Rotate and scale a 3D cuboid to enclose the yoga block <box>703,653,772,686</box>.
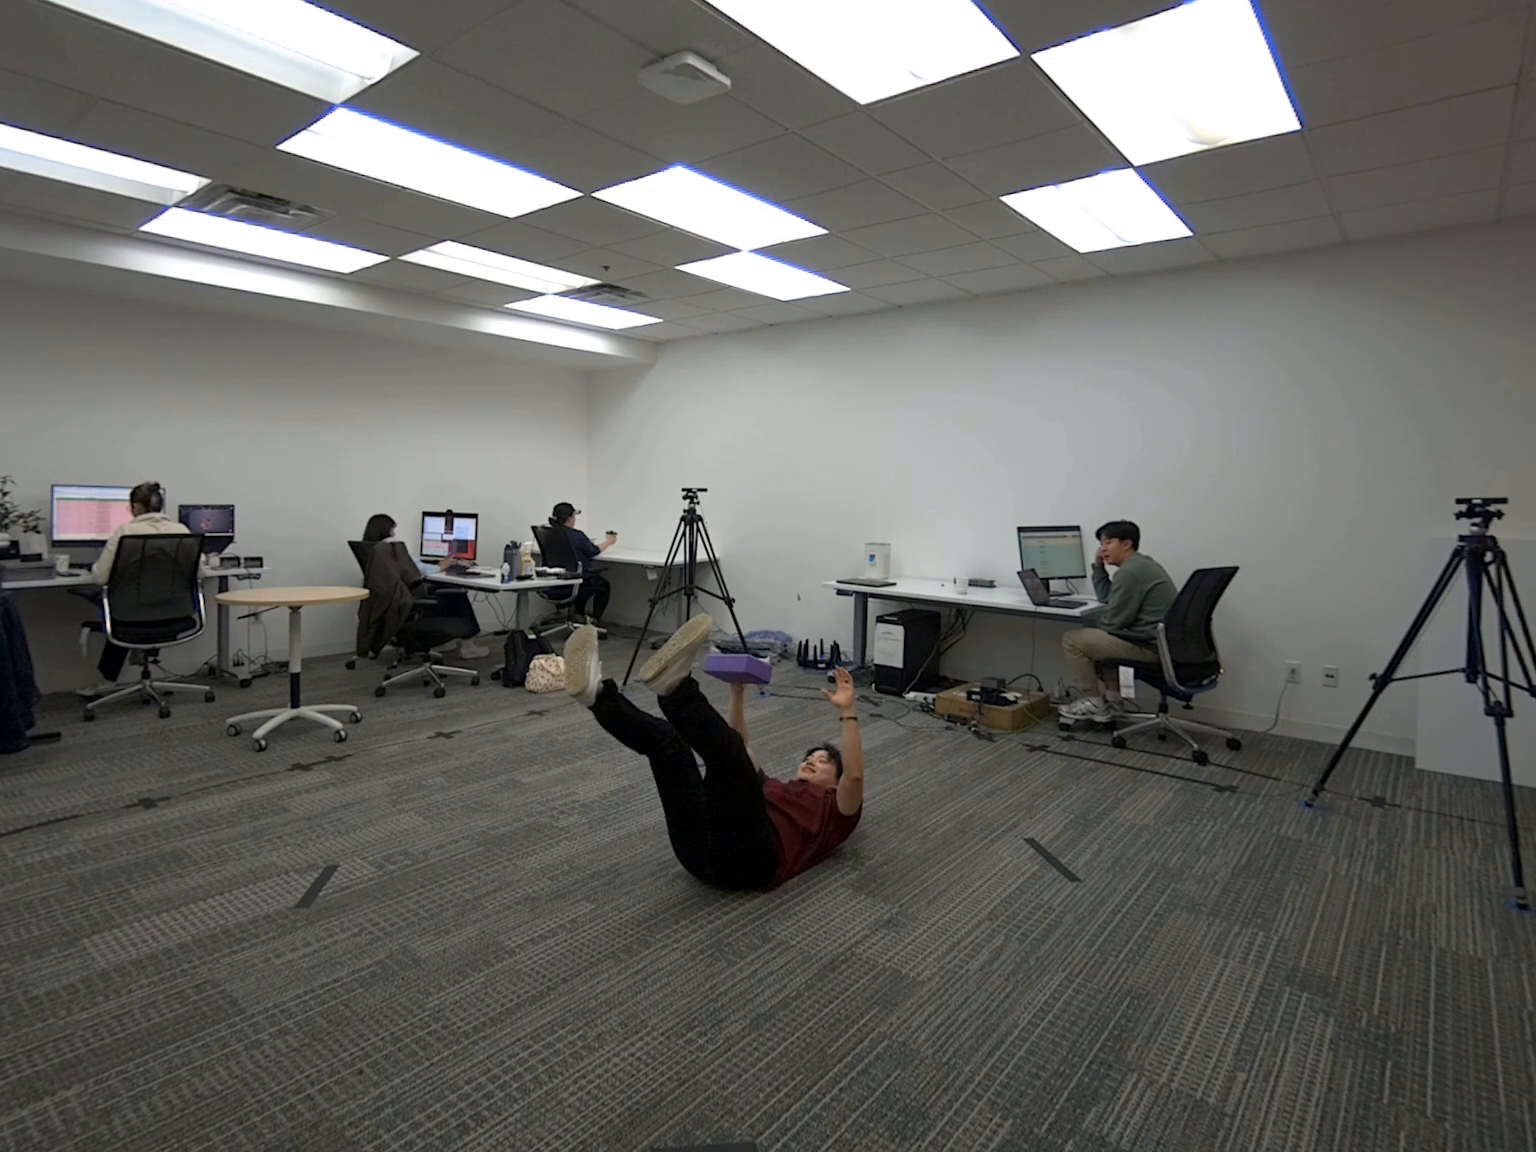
[{"bbox_3d":[-0.125,0.352,3.249,0.143,0.077,0.235,27,-22,-36],"label":"yoga block"}]
